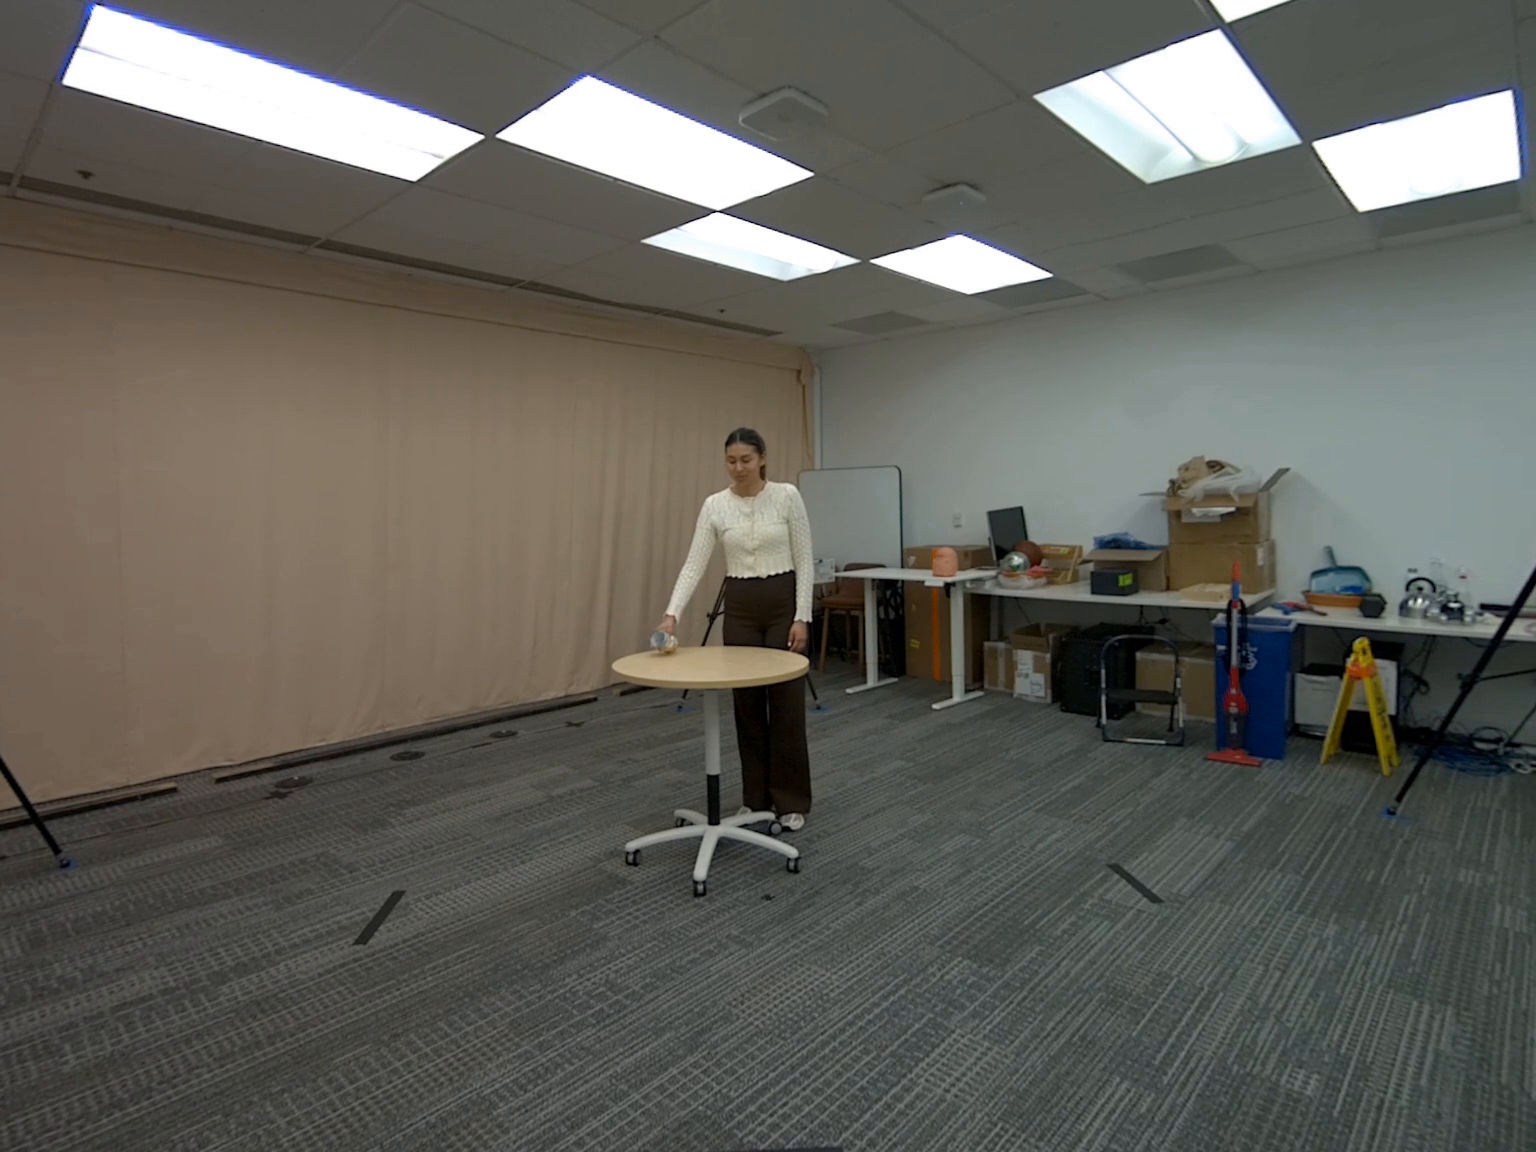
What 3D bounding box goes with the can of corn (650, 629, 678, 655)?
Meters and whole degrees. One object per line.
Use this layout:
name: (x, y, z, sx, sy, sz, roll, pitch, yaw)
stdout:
can of corn: (-0.415, 0.268, 3.448, 0.076, 0.075, 0.108, 1, -16, 22)
